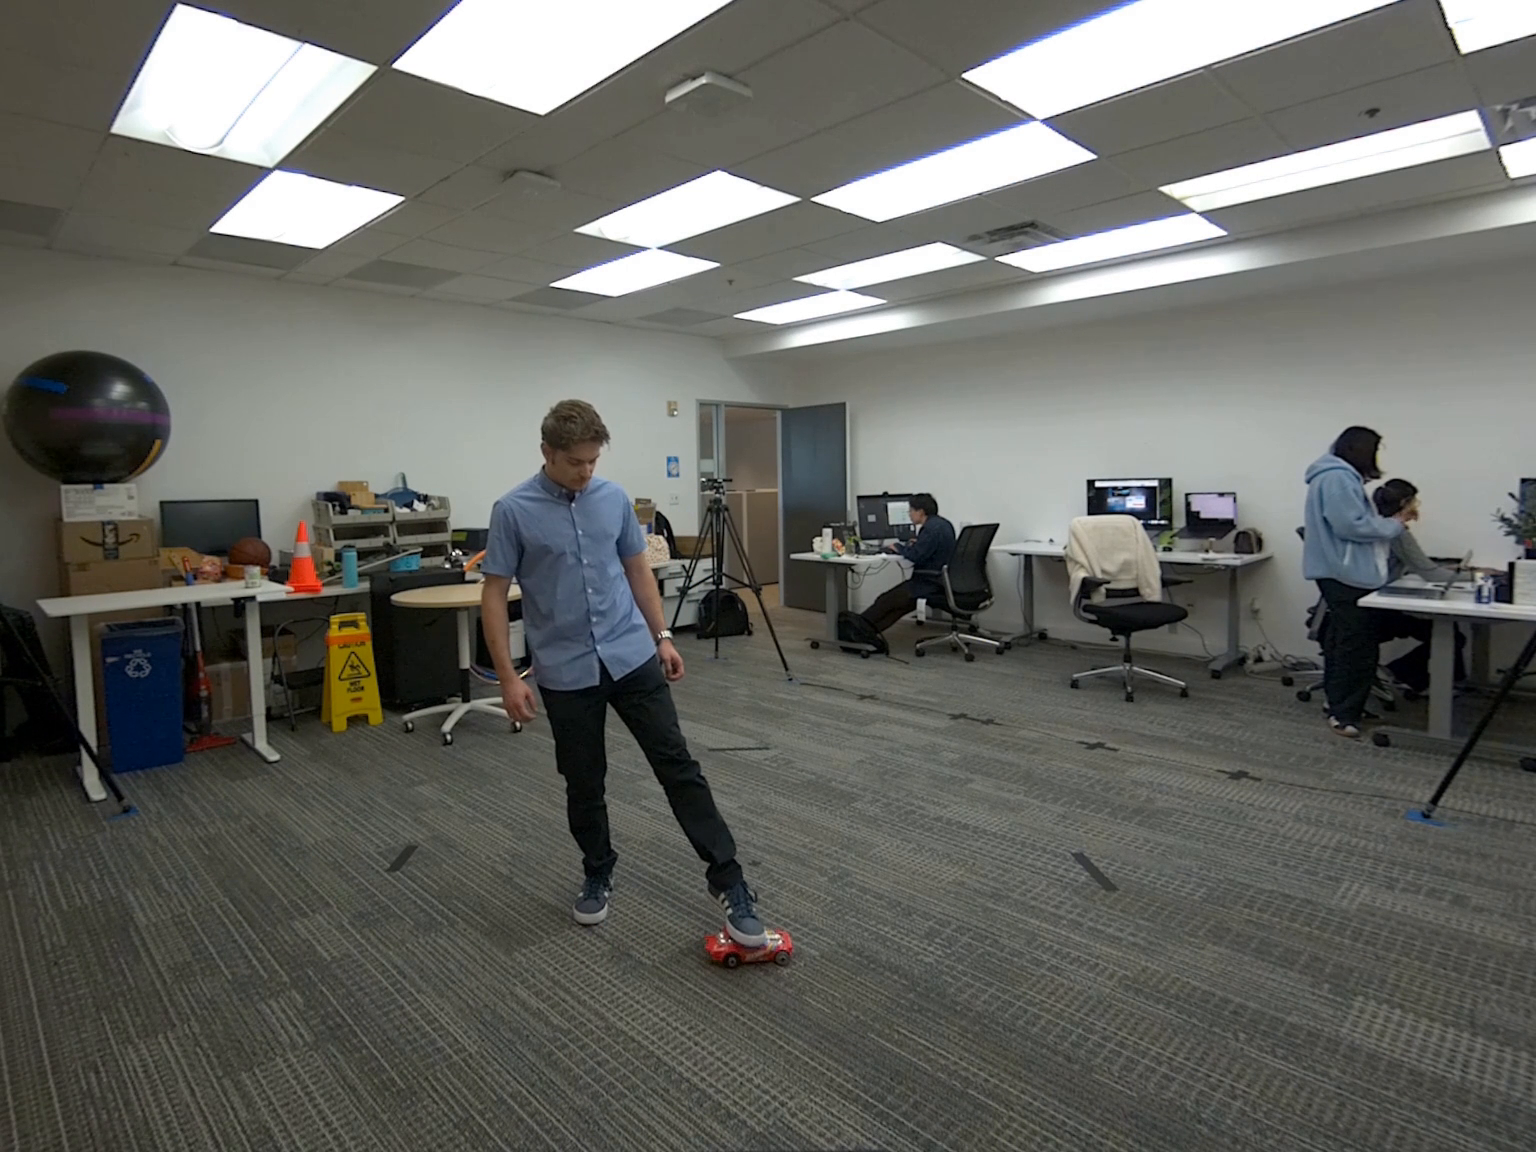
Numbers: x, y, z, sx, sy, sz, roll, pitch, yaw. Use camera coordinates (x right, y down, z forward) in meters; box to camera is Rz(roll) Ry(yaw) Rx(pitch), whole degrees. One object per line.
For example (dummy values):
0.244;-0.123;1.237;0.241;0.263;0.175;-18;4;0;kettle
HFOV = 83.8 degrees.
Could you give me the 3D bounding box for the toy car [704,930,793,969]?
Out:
-0.062;1.089;2.495;0.253;0.083;0.131;10;5;-6;toy car
